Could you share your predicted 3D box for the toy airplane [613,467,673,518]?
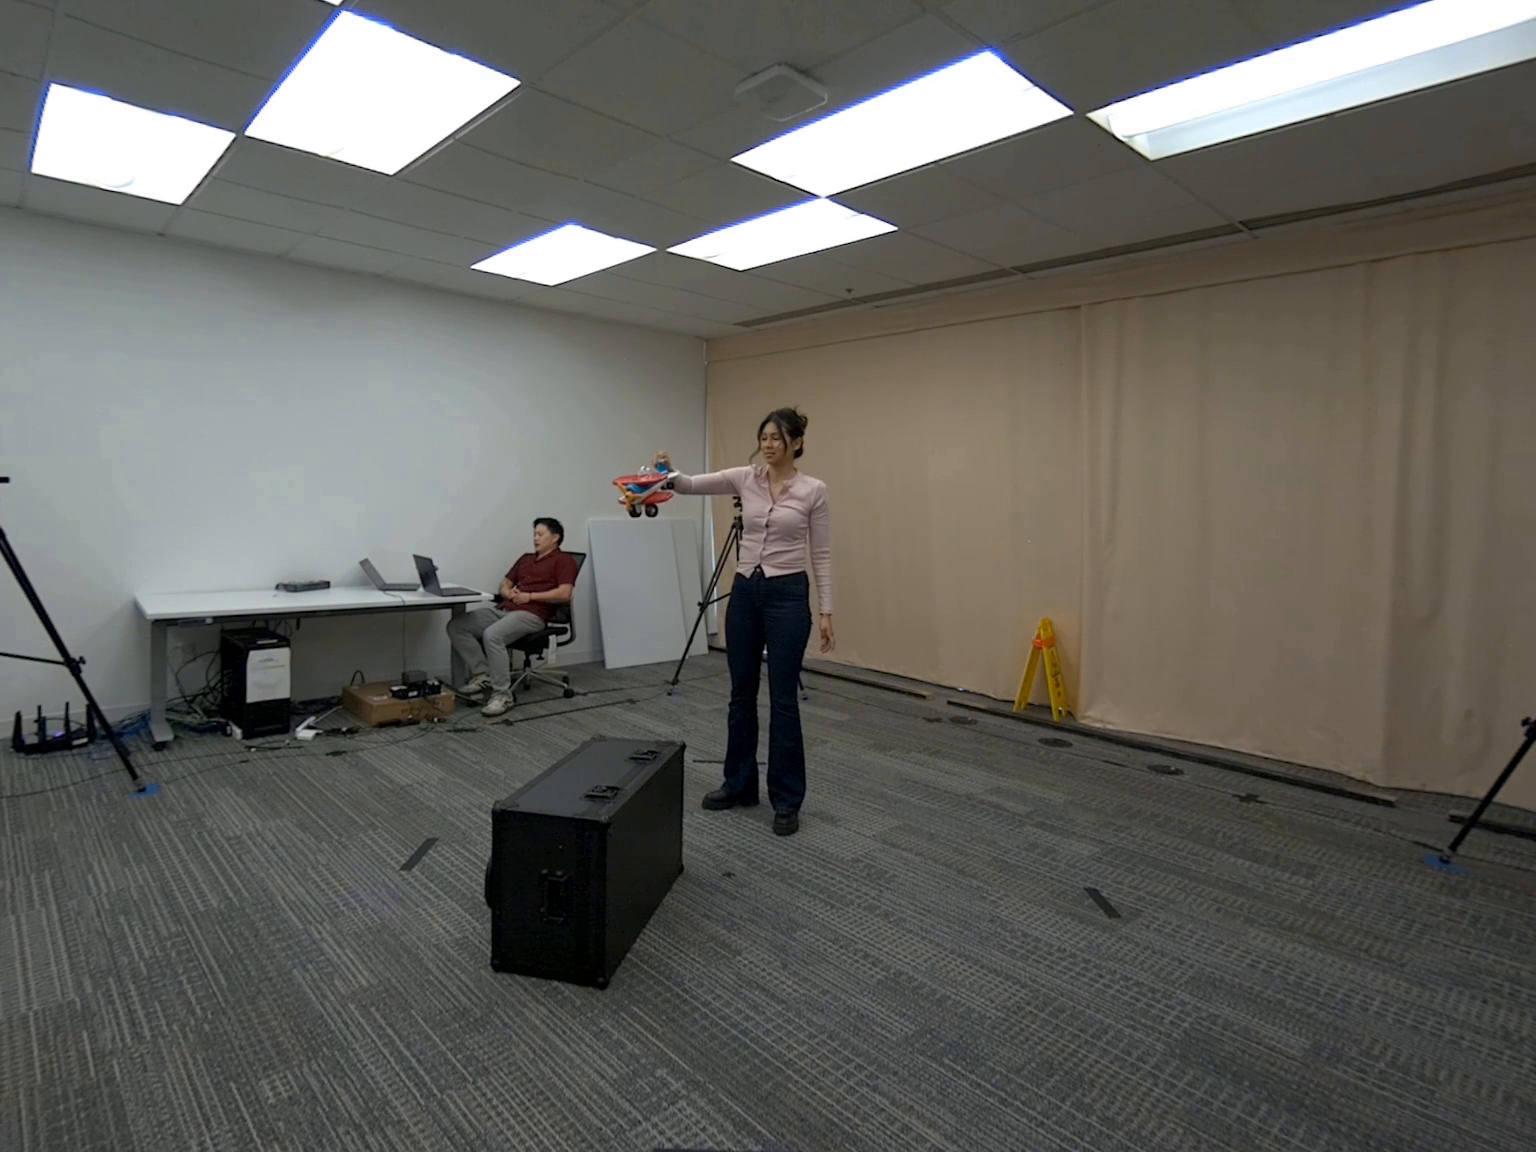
[{"bbox_3d":[-0.488,-0.347,3.302,0.253,0.152,0.264,-17,35,12],"label":"toy airplane"}]
